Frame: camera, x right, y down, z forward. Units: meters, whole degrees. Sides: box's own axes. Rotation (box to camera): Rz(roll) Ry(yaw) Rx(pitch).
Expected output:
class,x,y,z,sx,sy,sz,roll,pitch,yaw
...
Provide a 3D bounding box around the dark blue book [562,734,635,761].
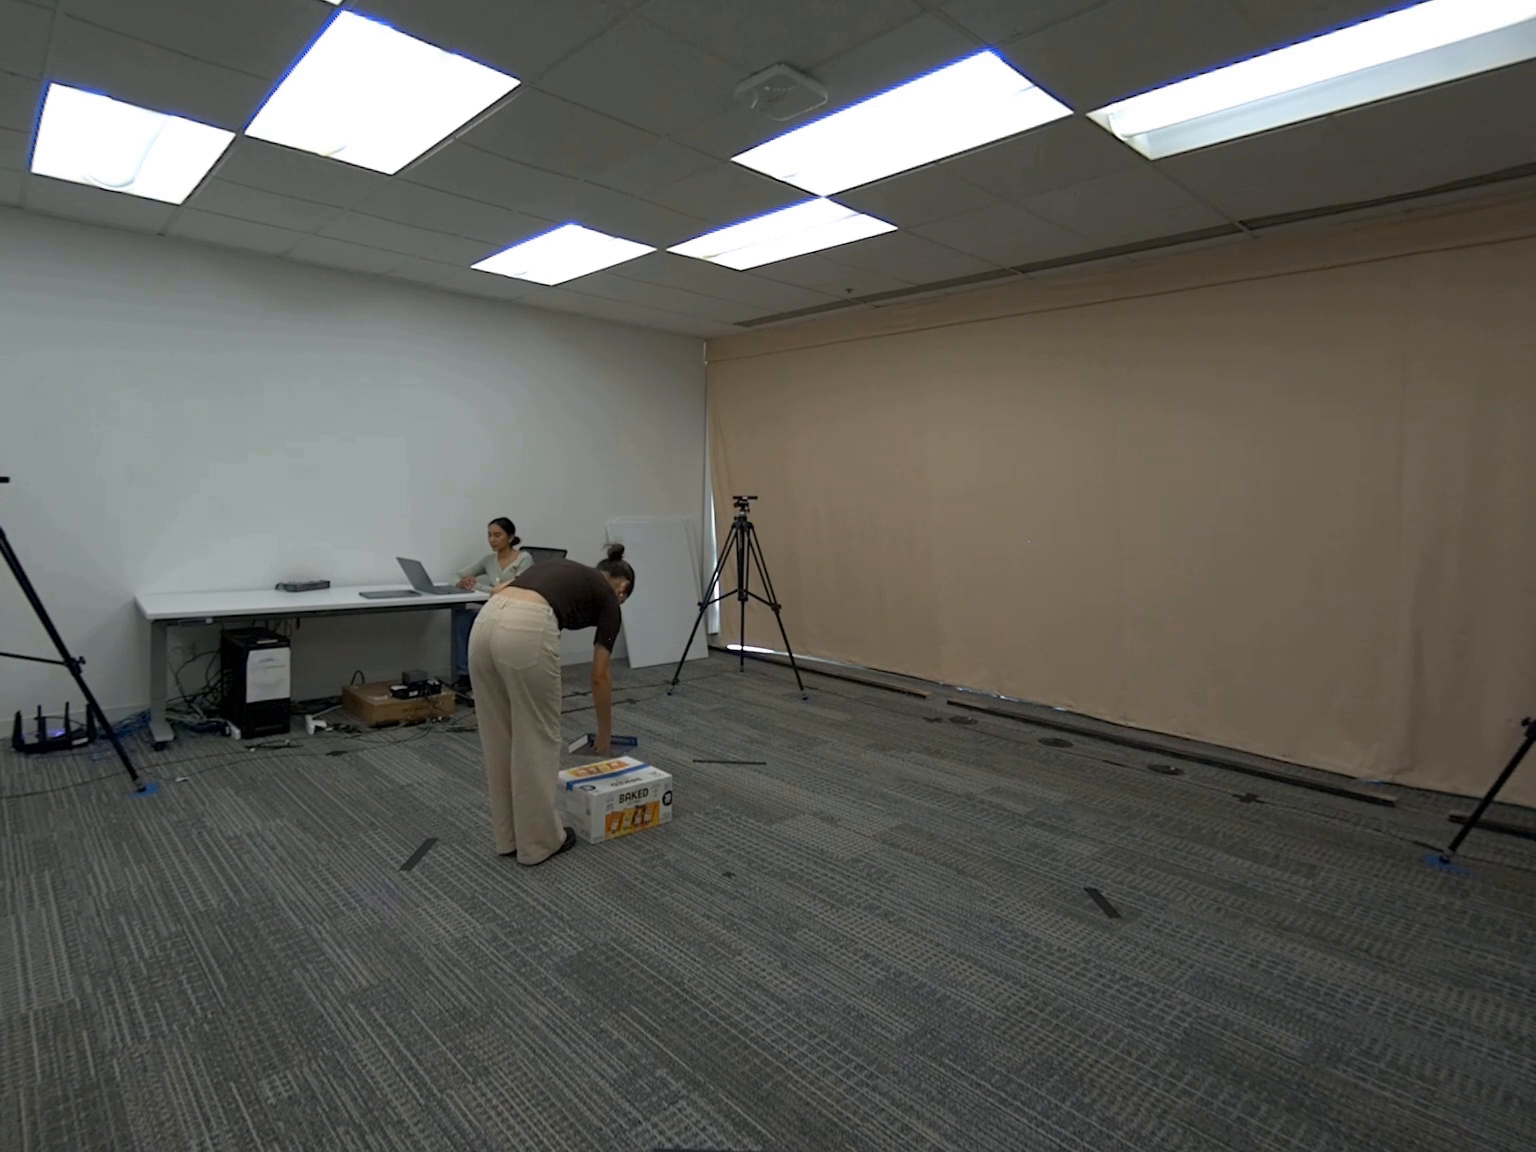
class,x,y,z,sx,sy,sz,roll,pitch,yaw
dark blue book,-0.713,0.719,3.548,0.238,0.046,0.164,14,-34,-38
